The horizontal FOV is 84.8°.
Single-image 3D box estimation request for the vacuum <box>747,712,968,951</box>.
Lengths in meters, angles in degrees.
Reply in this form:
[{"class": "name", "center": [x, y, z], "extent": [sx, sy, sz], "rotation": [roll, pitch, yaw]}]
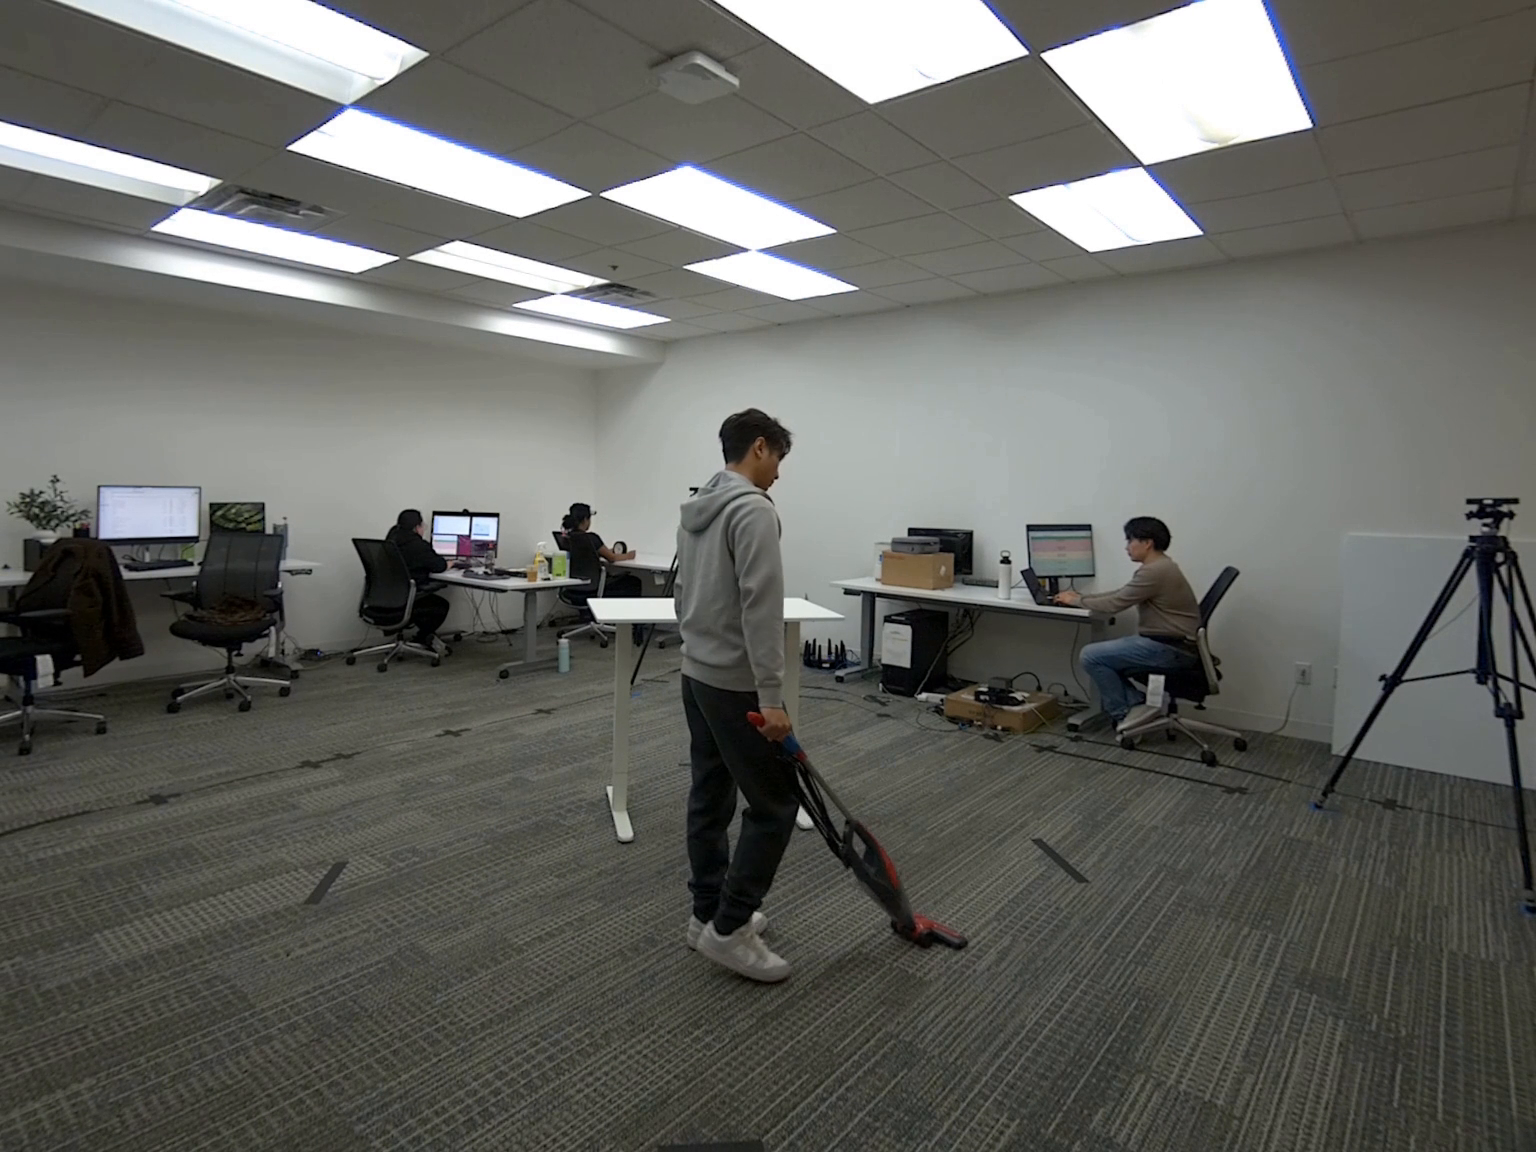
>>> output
[{"class": "vacuum", "center": [0.235, 0.769, 2.465], "extent": [0.261, 1.013, 0.144], "rotation": [8, 51, 52]}]
